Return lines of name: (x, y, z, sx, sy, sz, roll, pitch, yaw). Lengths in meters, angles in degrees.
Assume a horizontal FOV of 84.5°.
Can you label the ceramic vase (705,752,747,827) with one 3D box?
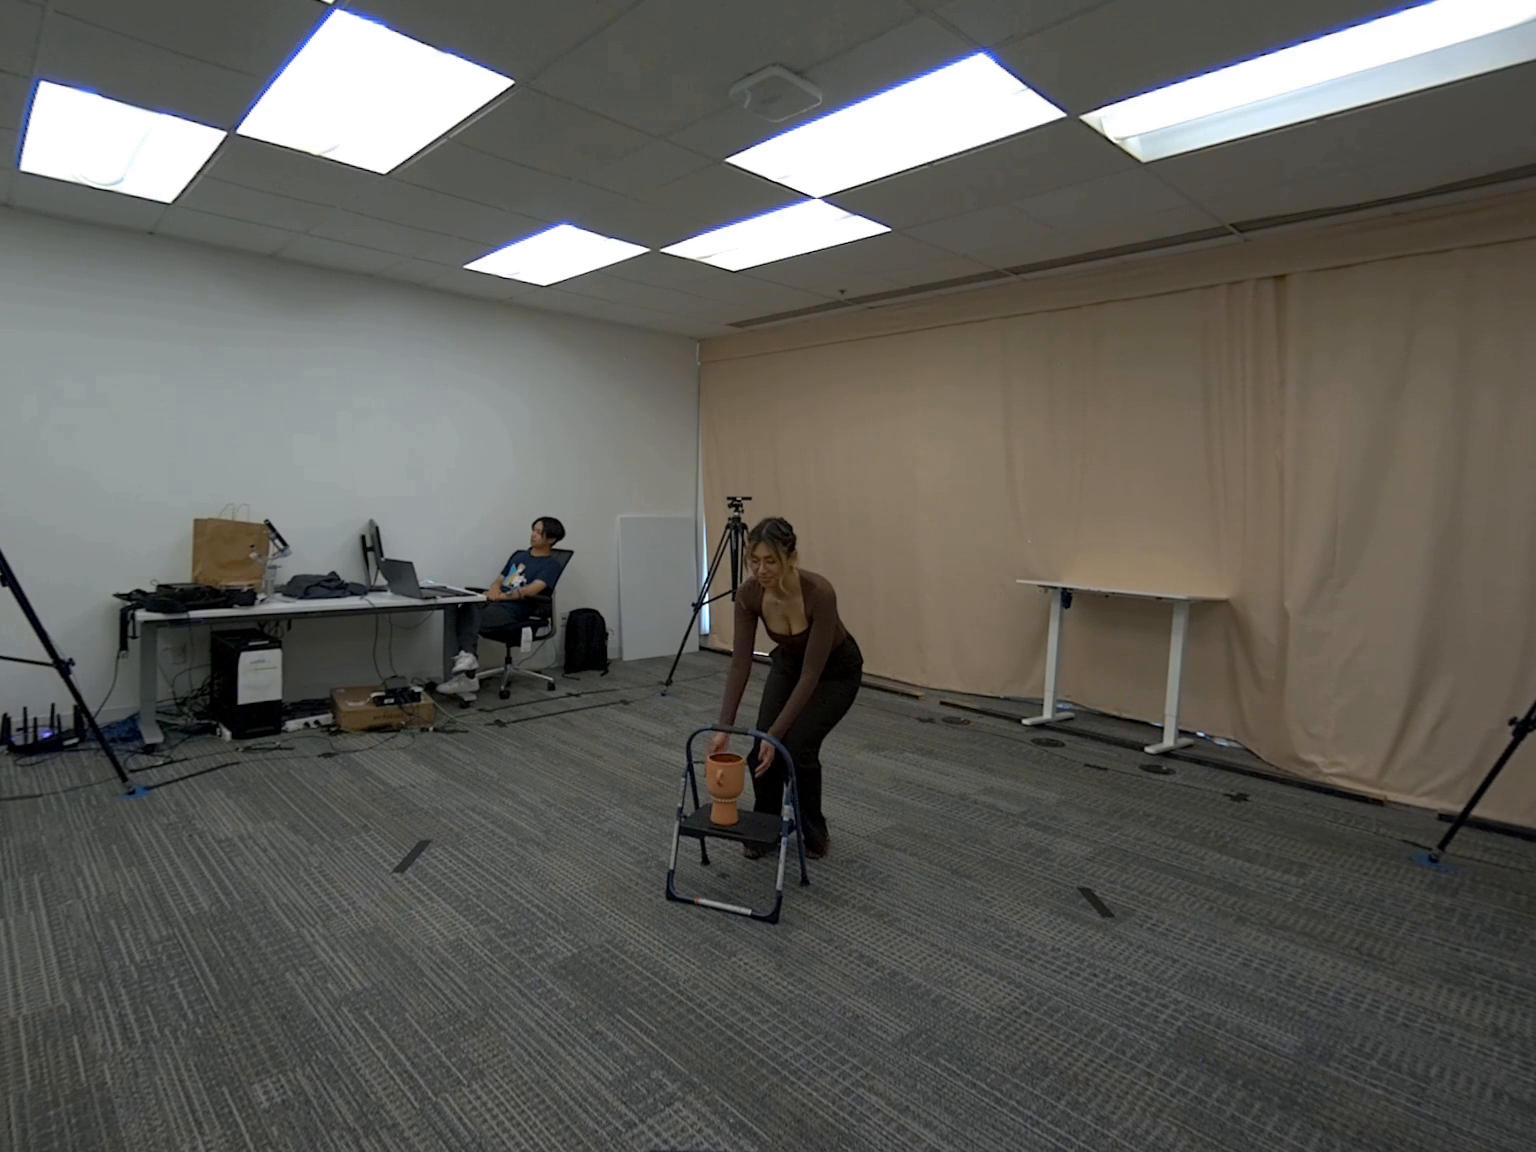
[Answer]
ceramic vase: (-0.150, 0.749, 2.951, 0.155, 0.219, 0.138, 0, 3, -37)
